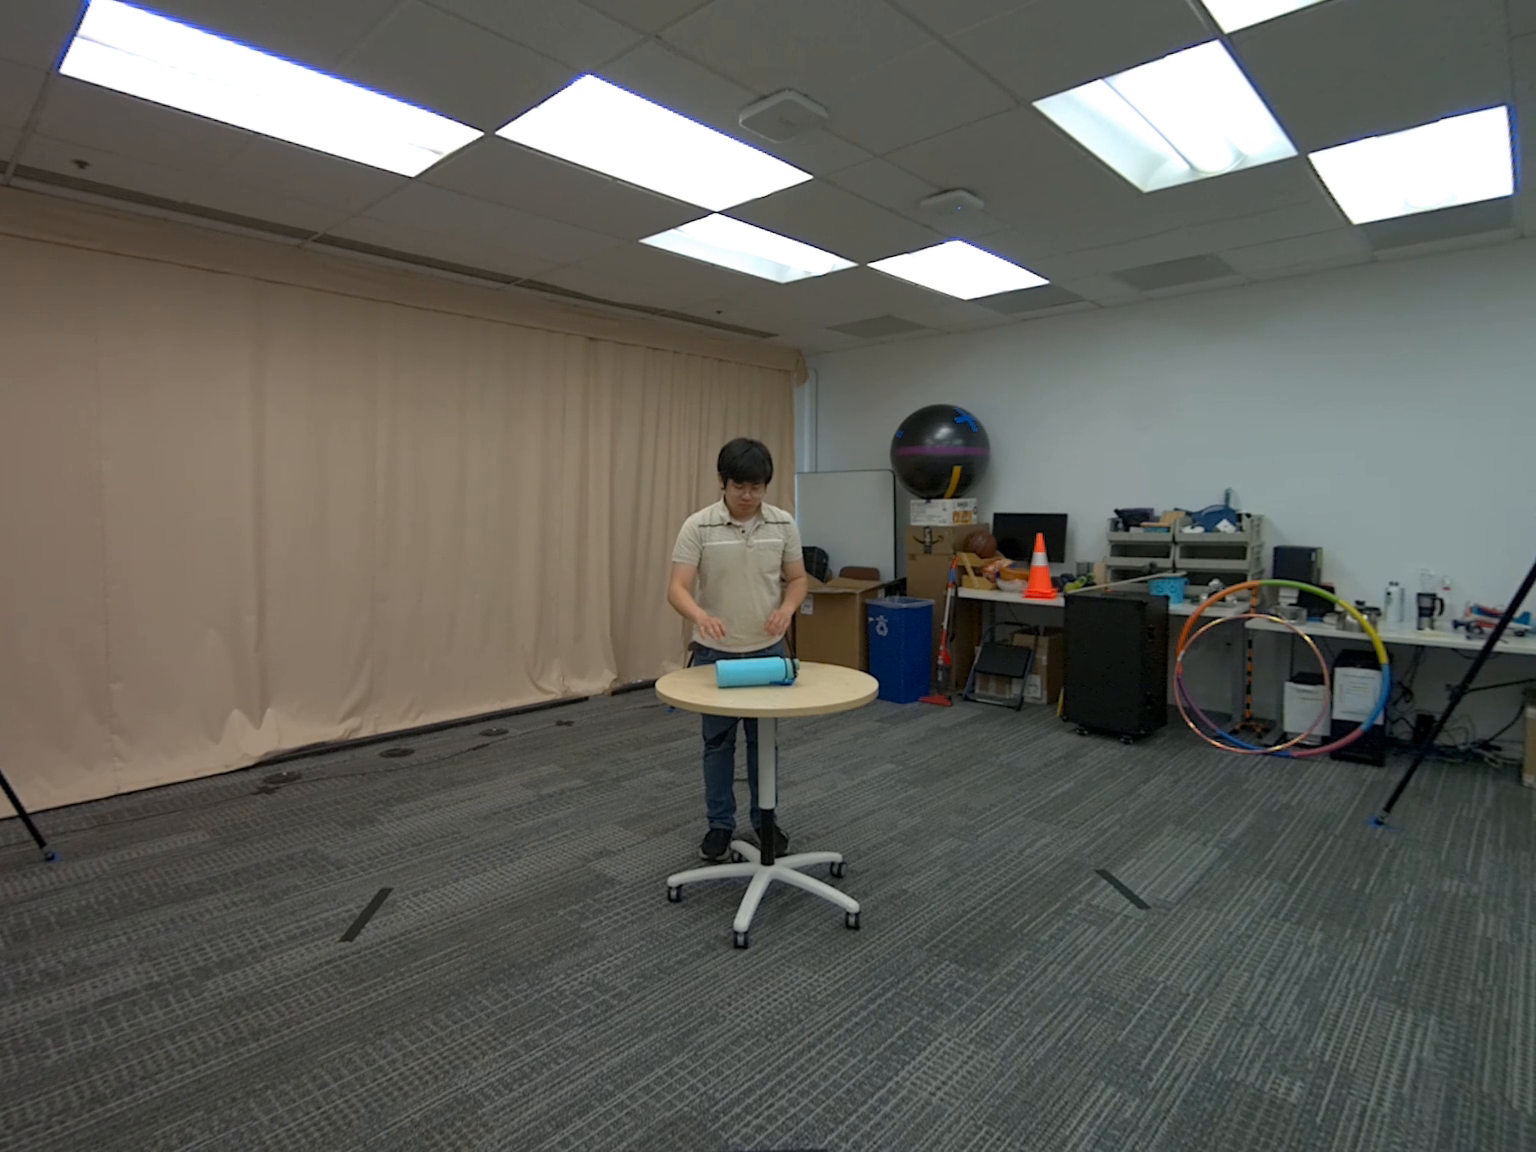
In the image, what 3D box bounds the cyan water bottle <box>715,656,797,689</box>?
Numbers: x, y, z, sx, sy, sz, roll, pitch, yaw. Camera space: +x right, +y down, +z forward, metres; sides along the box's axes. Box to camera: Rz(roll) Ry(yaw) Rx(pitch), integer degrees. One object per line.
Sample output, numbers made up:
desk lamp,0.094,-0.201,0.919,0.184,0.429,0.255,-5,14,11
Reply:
cyan water bottle,-0.036,0.321,2.857,0.281,0.092,0.093,-1,4,-7
